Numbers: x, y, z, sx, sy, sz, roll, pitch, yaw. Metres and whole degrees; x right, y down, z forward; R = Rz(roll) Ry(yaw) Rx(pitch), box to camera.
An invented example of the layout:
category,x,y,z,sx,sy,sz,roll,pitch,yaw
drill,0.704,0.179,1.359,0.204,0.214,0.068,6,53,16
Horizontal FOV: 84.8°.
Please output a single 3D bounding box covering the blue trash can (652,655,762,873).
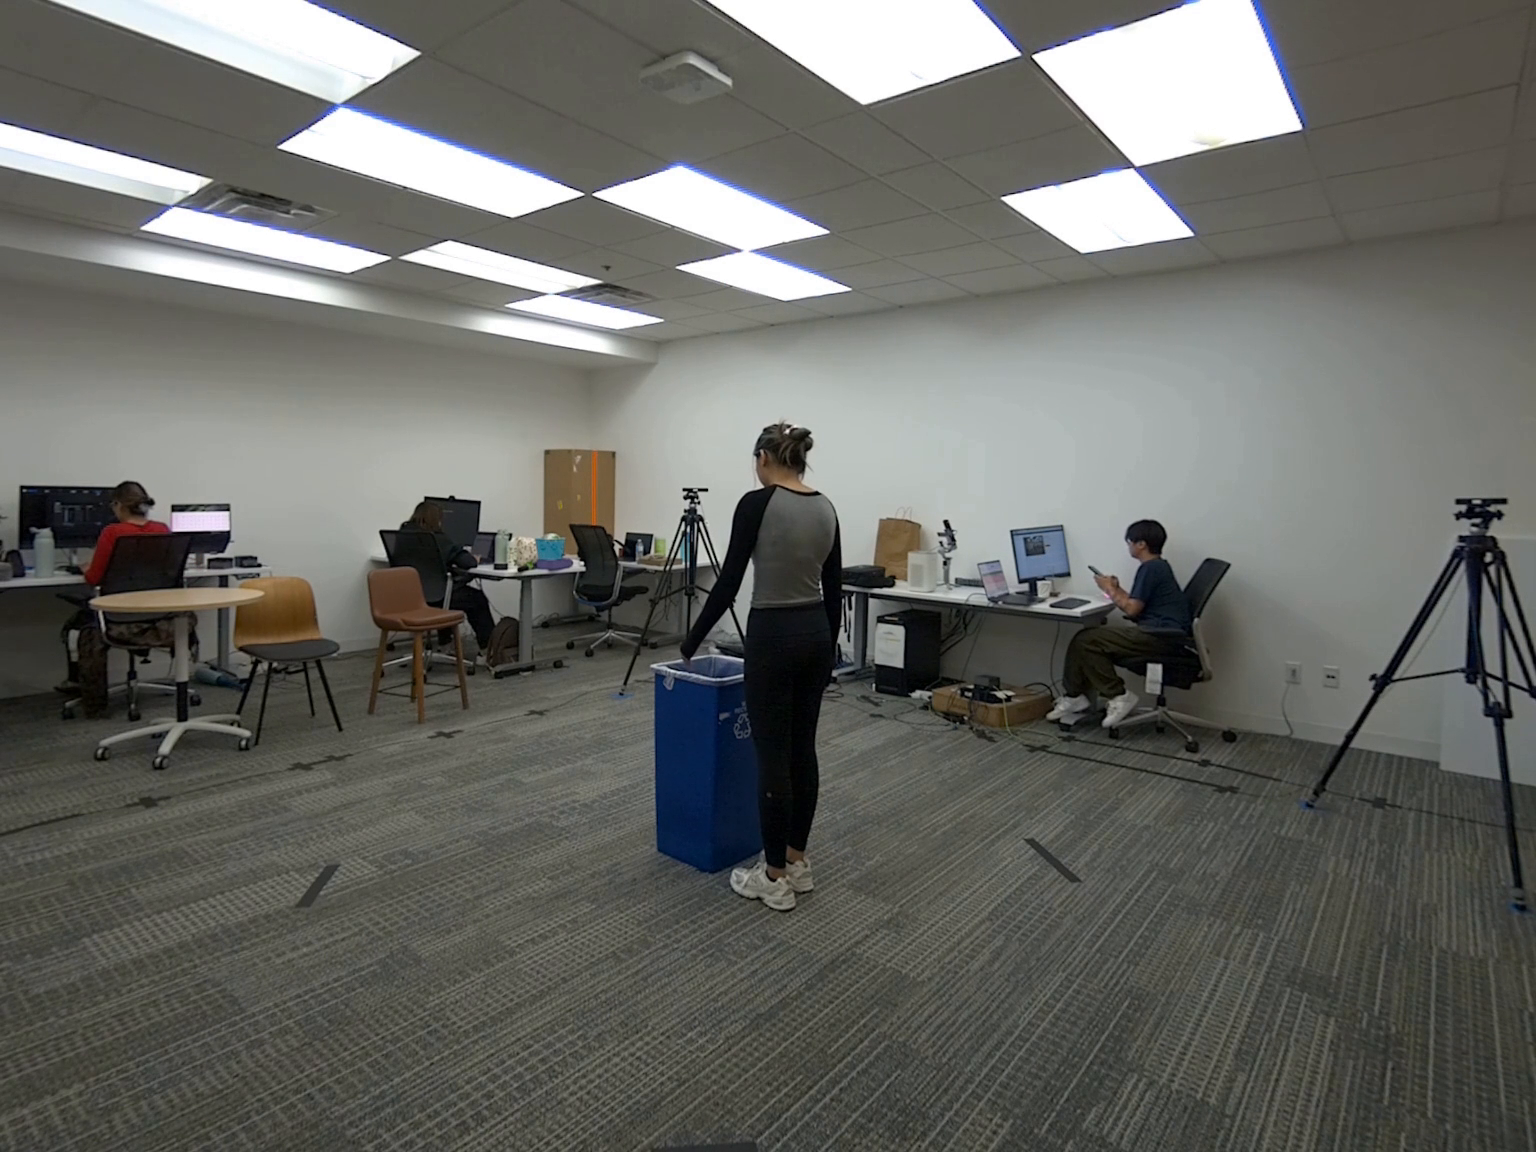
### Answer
category,x,y,z,sx,sy,sz,roll,pitch,yaw
blue trash can,-0.224,0.697,3.269,0.391,0.711,0.363,4,4,41
